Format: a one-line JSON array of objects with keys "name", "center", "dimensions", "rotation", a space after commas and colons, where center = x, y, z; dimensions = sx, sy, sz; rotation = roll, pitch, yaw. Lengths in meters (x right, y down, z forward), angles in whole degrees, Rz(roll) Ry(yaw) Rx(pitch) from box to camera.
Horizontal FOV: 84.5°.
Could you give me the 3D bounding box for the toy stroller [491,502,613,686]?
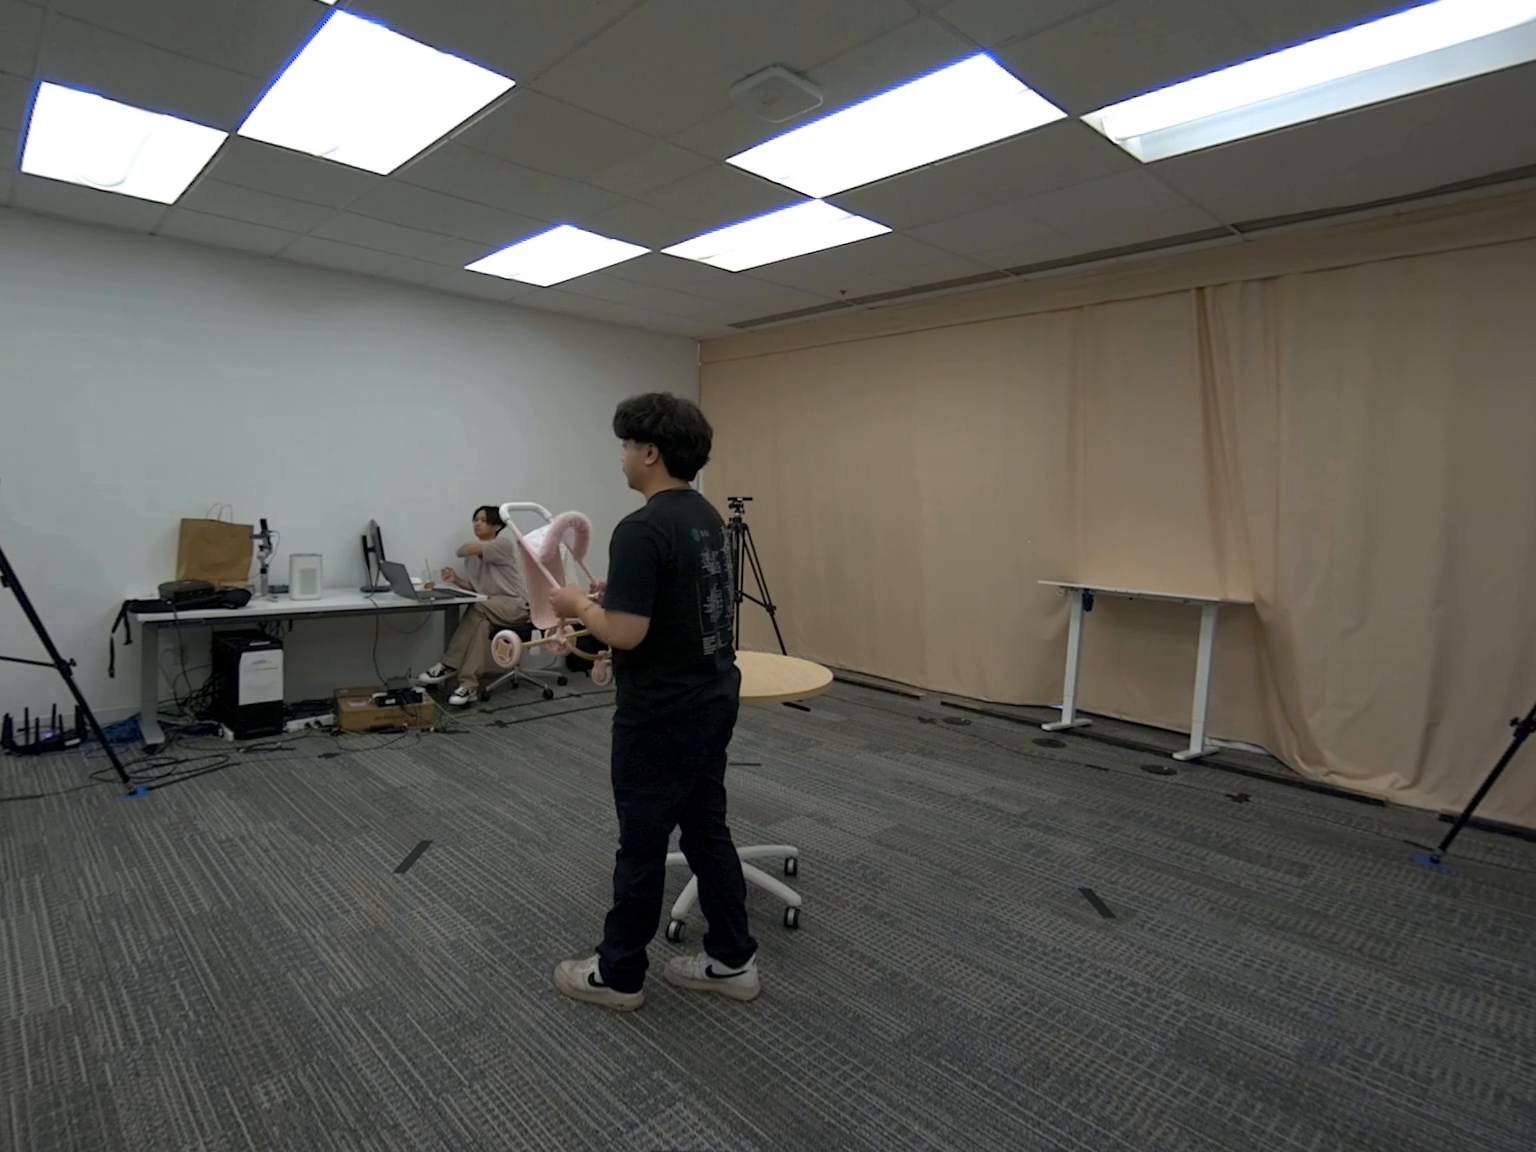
[{"name": "toy stroller", "center": [-0.604, 0.050, 2.452], "dimensions": [0.348, 0.535, 0.275], "rotation": [-1, 0, 30]}]
